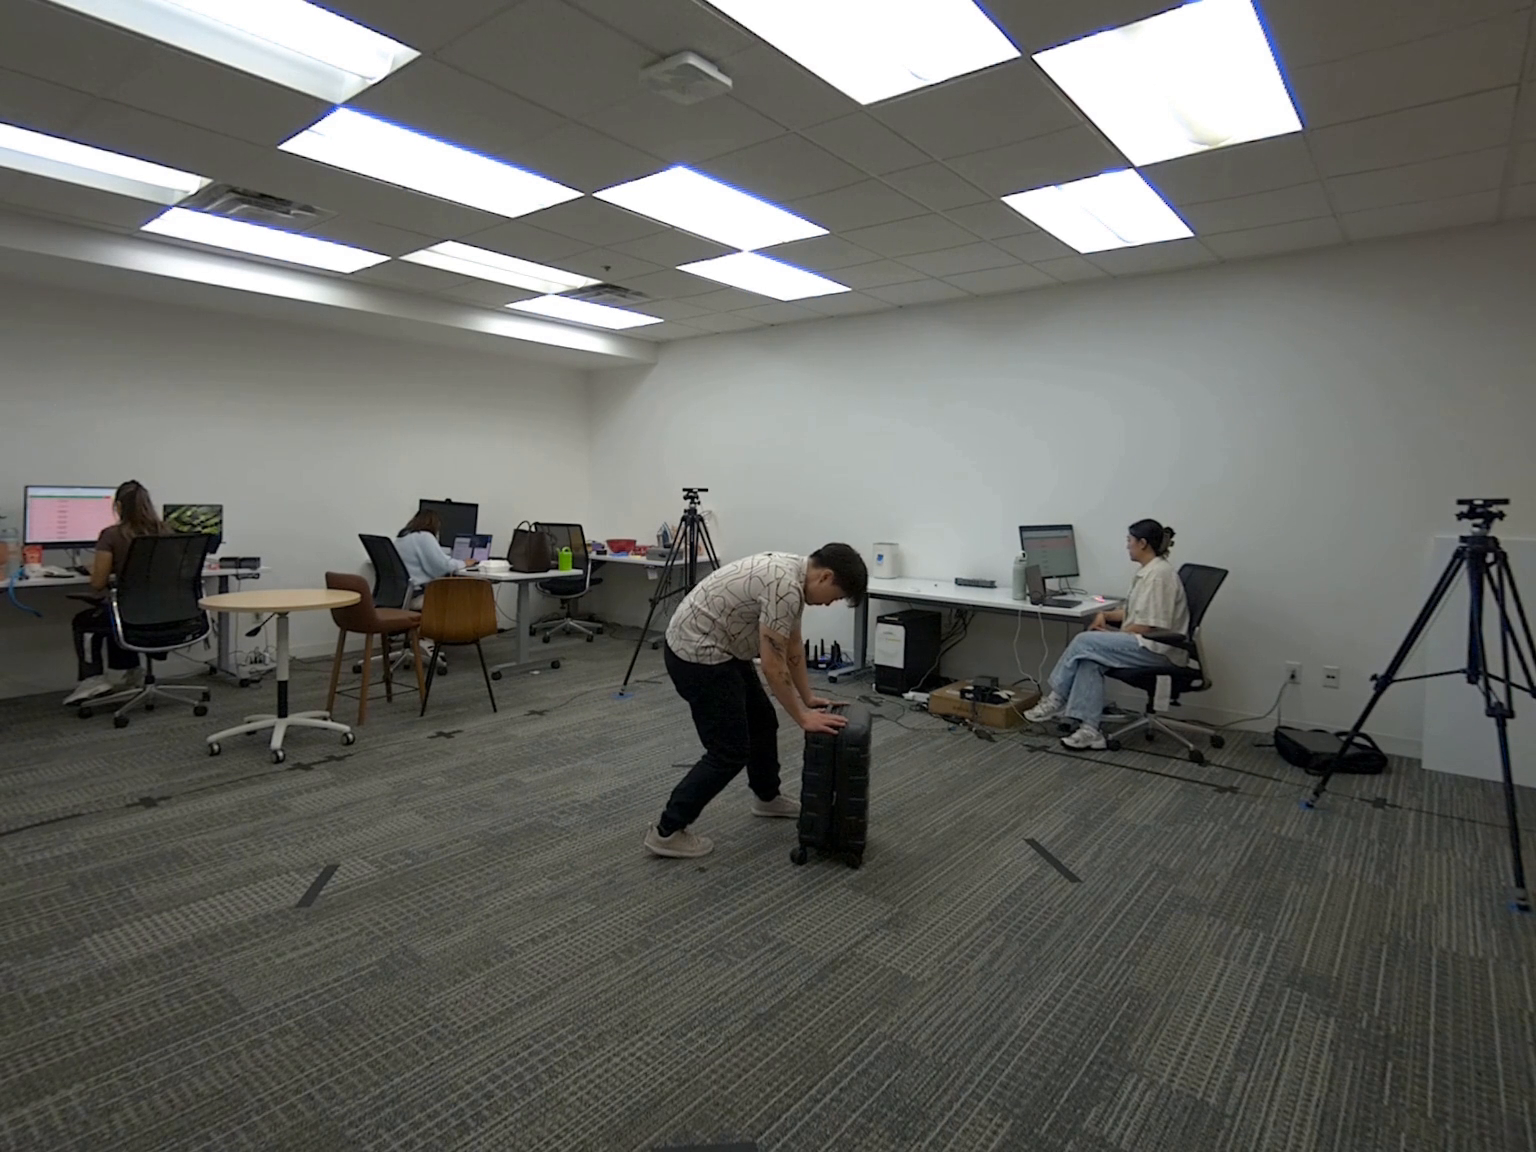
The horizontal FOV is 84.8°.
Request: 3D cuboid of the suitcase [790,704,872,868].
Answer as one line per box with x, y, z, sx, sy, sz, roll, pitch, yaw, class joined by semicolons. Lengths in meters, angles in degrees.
0.255;0.785;3.301;0.251;0.548;0.372;3;3;9;suitcase
